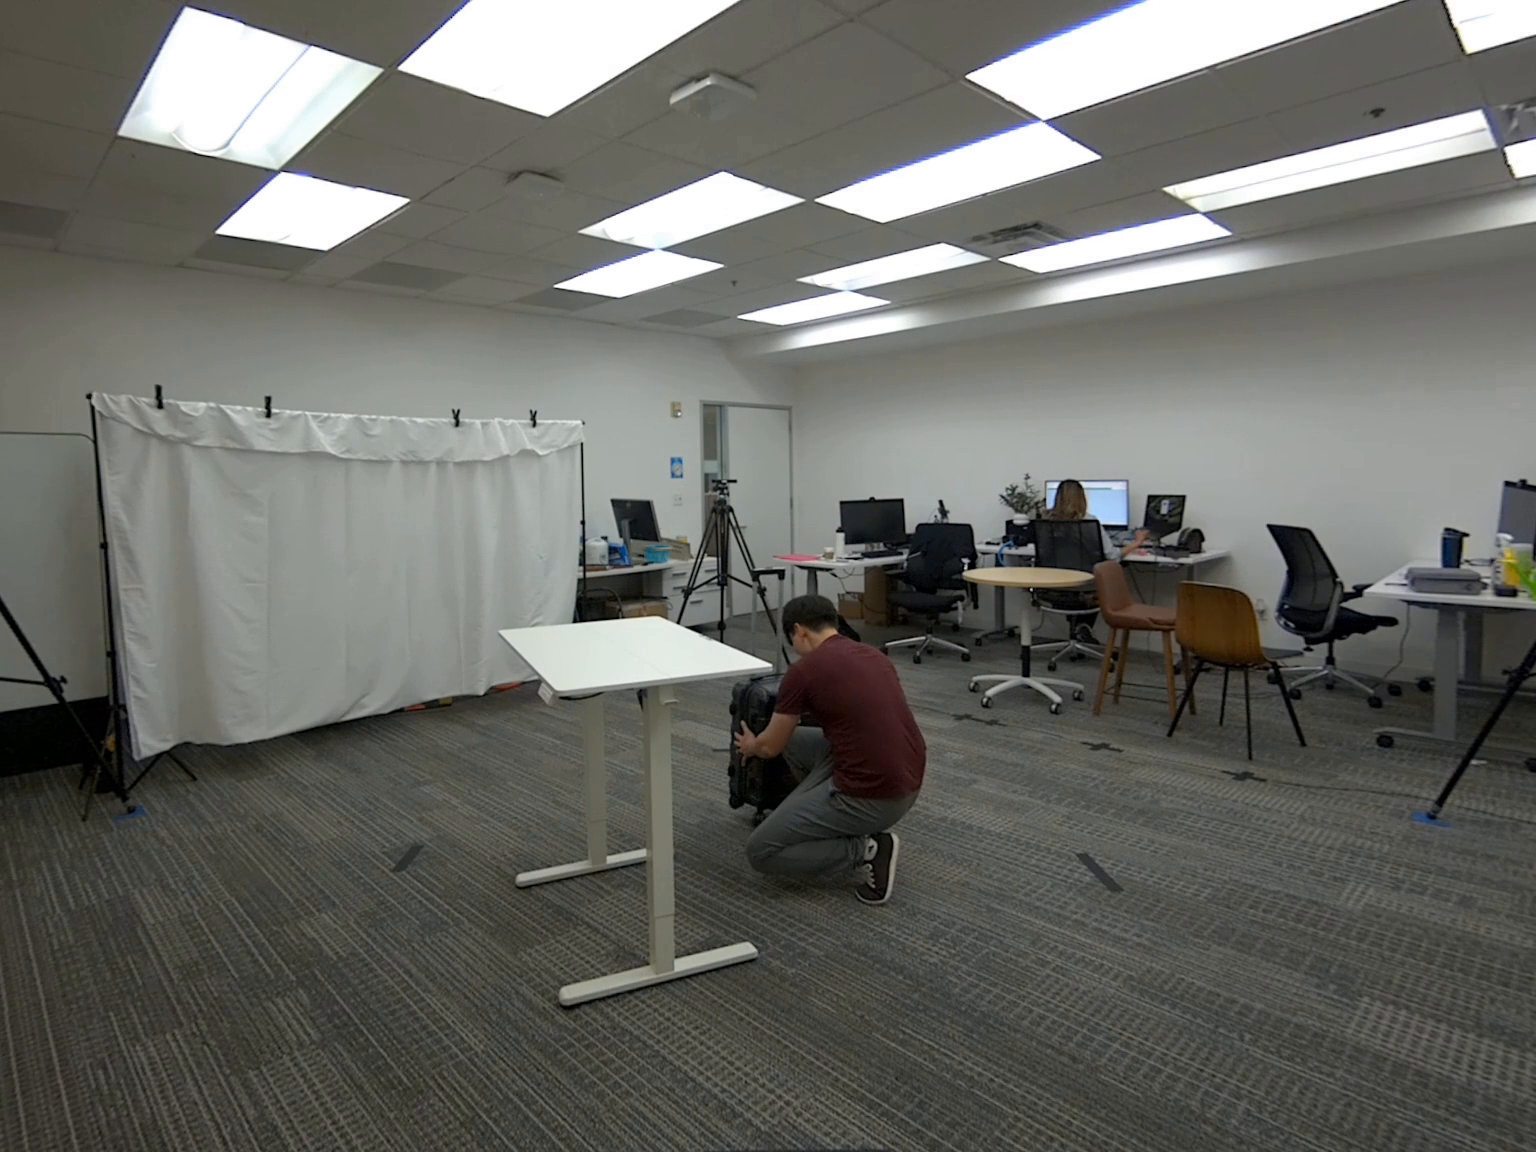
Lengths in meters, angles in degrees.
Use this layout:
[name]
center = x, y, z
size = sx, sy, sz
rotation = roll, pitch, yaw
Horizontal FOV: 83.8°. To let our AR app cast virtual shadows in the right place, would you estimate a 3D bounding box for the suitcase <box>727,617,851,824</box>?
[suitcase]
center = 0.050, 0.475, 3.481
size = 0.374, 0.974, 0.265
rotation = -1, 6, -32
